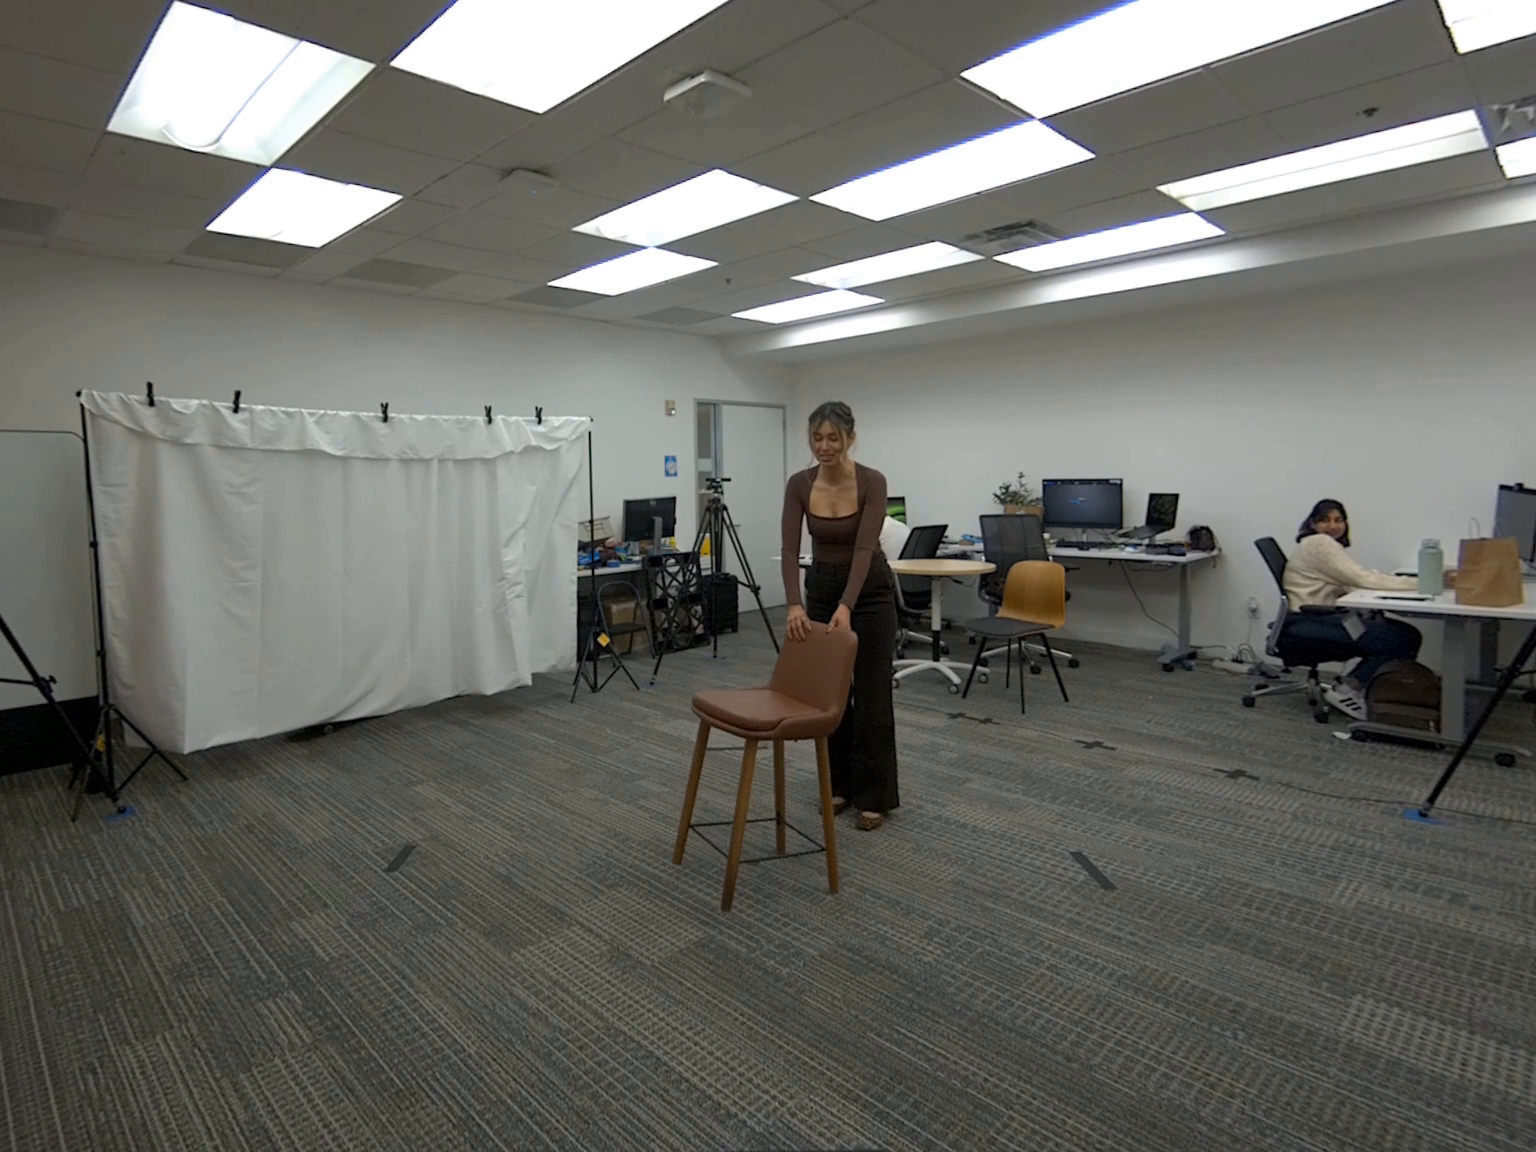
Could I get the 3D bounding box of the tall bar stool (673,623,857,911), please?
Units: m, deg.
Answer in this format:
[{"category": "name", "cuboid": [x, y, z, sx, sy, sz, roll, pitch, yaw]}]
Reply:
[{"category": "tall bar stool", "cuboid": [-0.003, 0.607, 2.937, 0.455, 0.890, 0.469, 5, 0, -29]}]
